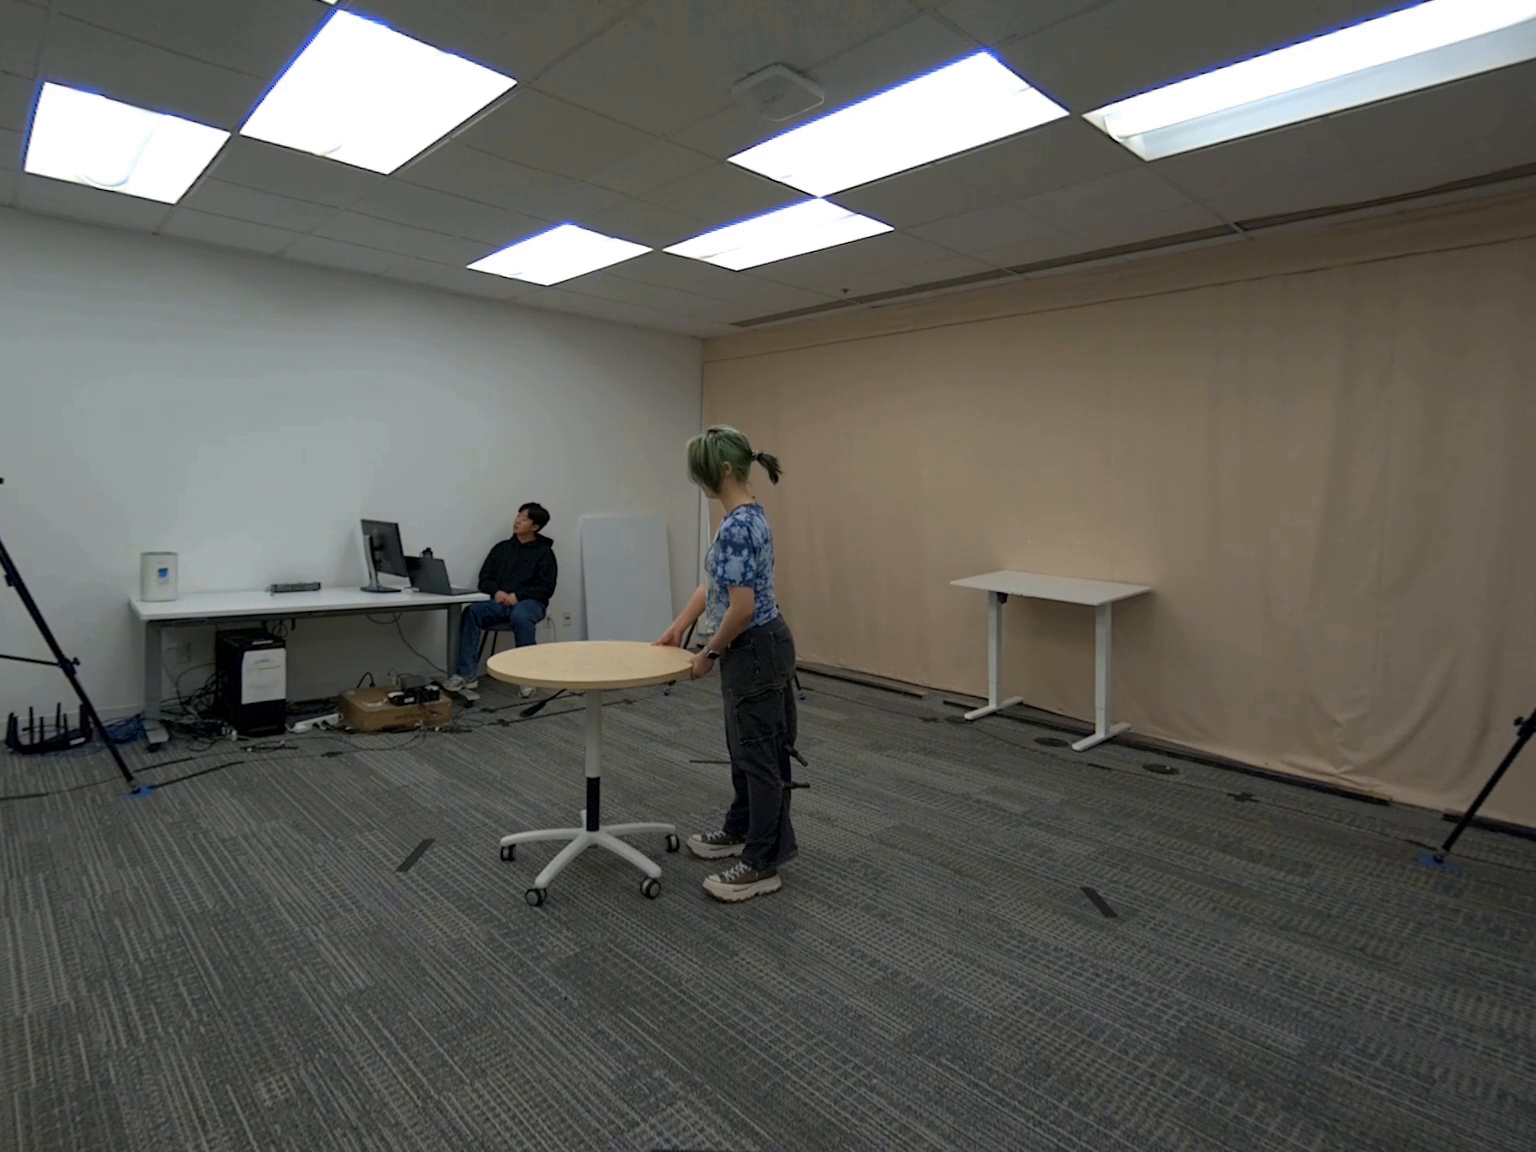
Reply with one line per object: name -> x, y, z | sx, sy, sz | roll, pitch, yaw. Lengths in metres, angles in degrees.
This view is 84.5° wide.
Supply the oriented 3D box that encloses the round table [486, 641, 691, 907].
round table -> -0.656, 0.699, 3.126 | 0.763, 0.792, 0.766 | 1, 4, -1
